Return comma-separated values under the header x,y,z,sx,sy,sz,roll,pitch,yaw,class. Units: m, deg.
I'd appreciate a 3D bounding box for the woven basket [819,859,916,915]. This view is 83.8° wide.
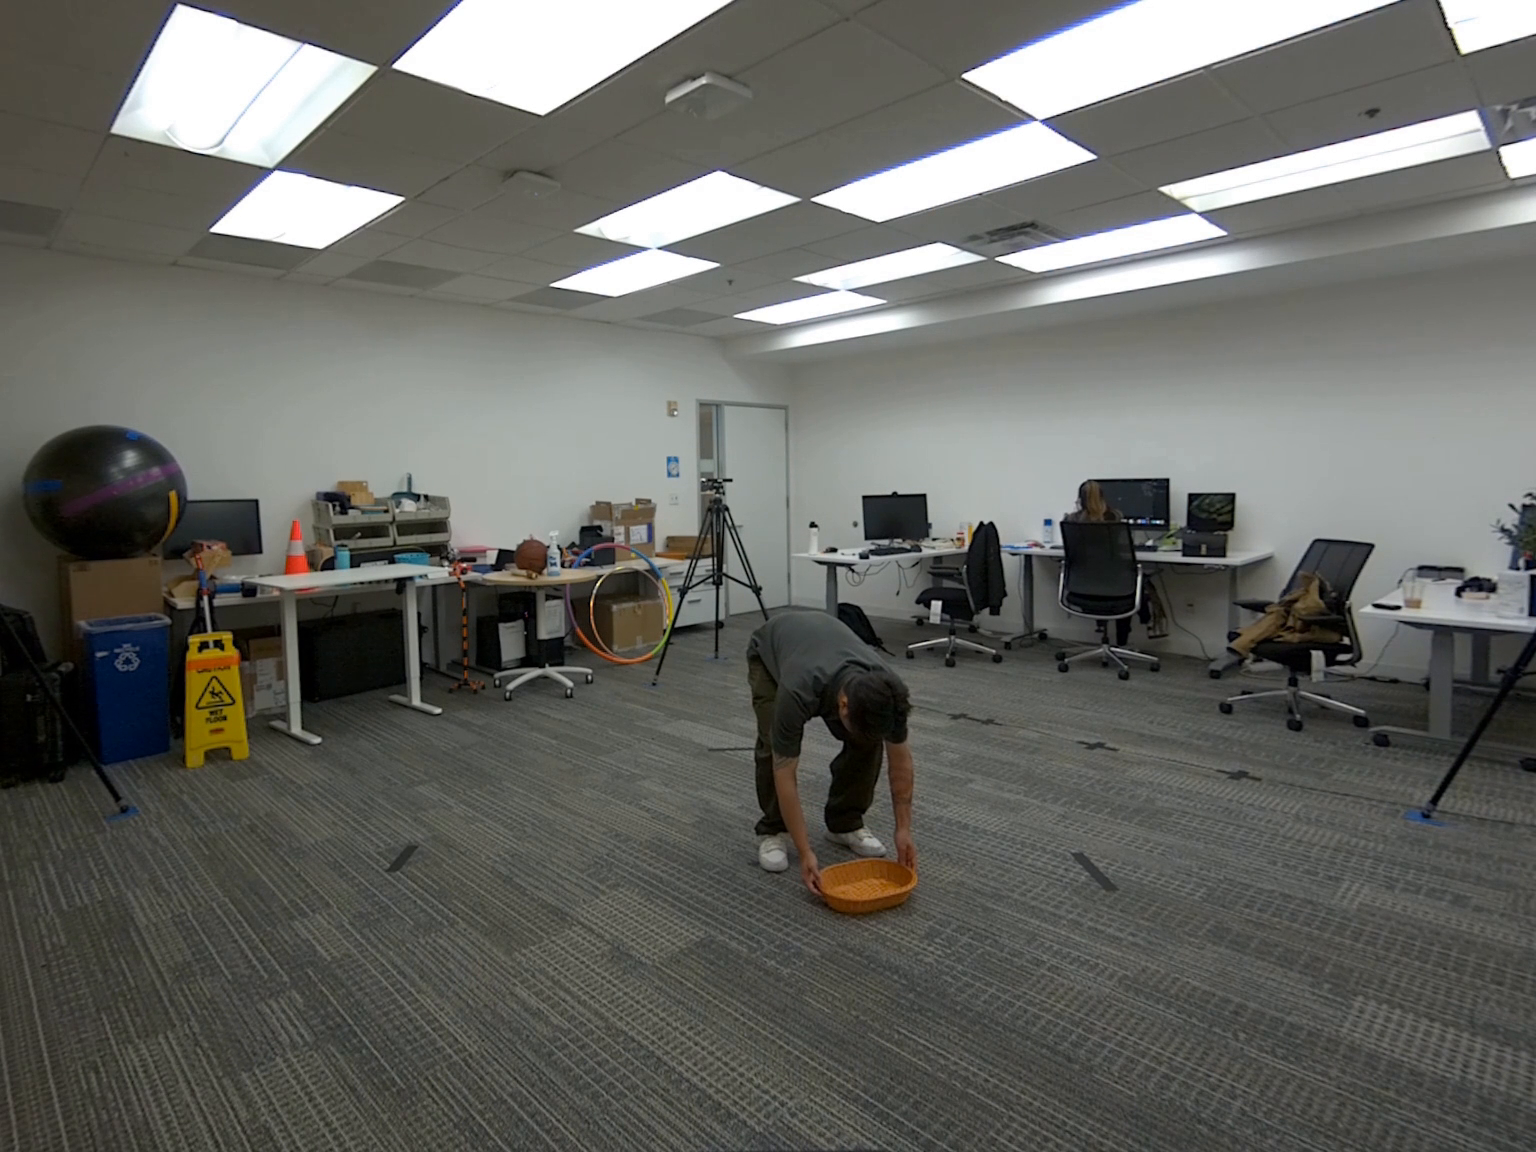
x,y,z,sx,sy,sz,roll,pitch,yaw,class
0.327,1.027,2.833,0.343,0.073,0.259,-4,8,-24,woven basket
